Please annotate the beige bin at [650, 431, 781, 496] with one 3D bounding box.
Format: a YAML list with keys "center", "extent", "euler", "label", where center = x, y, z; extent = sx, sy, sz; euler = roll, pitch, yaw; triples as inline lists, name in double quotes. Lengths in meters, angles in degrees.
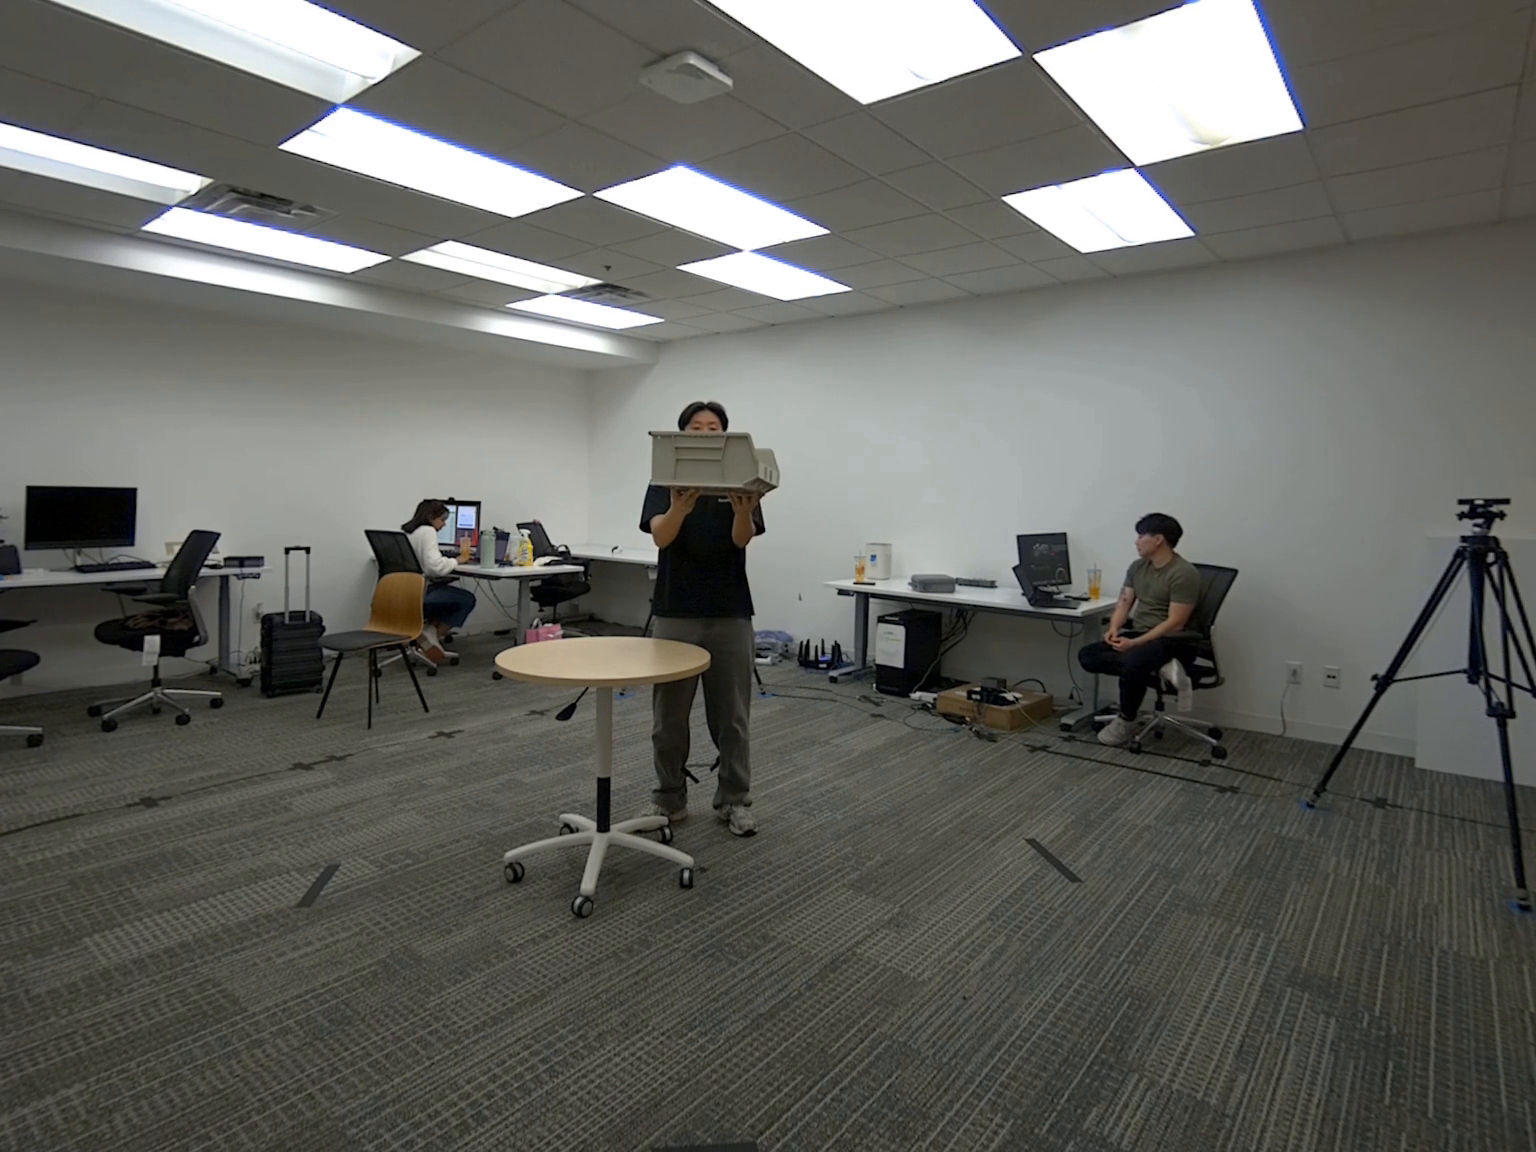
- center: [-0.189, -0.388, 2.969]
  extent: [0.382, 0.189, 0.417]
  euler: [2, 3, 11]
  label: "beige bin"
